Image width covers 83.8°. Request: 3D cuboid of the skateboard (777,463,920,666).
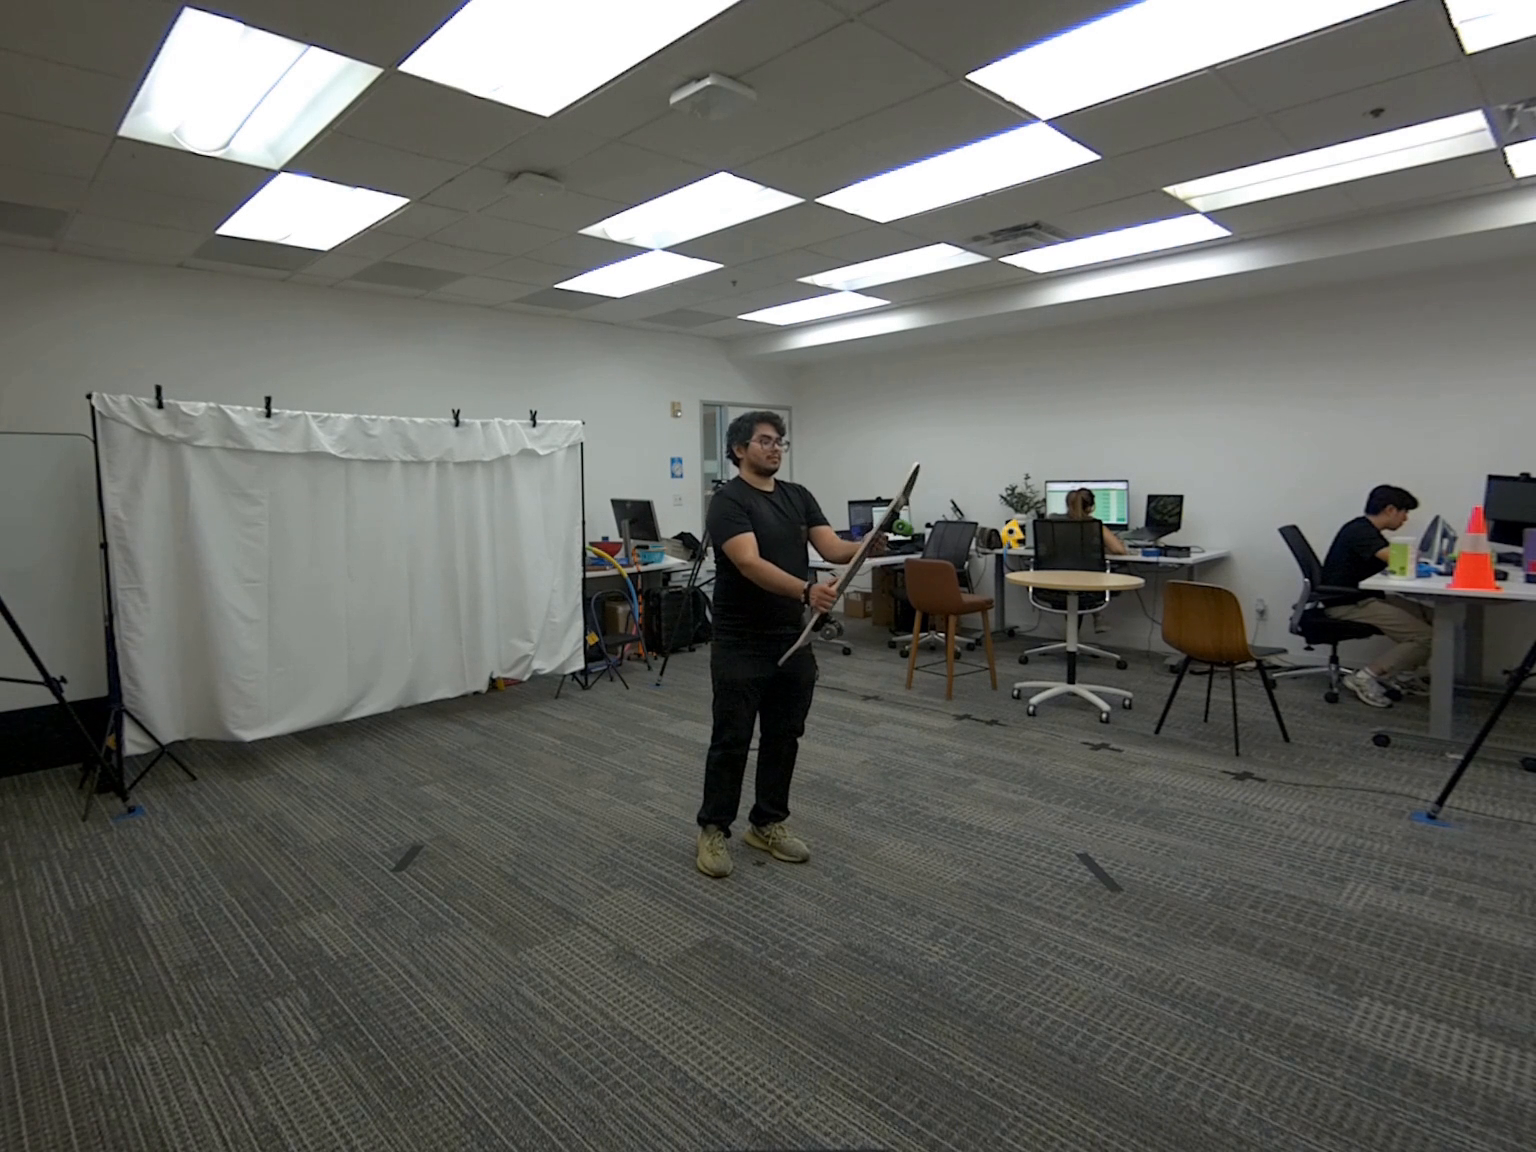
[{"bbox_3d":[0.296,-0.001,2.736,0.113,0.784,0.190,35,7,14],"label":"skateboard"}]
